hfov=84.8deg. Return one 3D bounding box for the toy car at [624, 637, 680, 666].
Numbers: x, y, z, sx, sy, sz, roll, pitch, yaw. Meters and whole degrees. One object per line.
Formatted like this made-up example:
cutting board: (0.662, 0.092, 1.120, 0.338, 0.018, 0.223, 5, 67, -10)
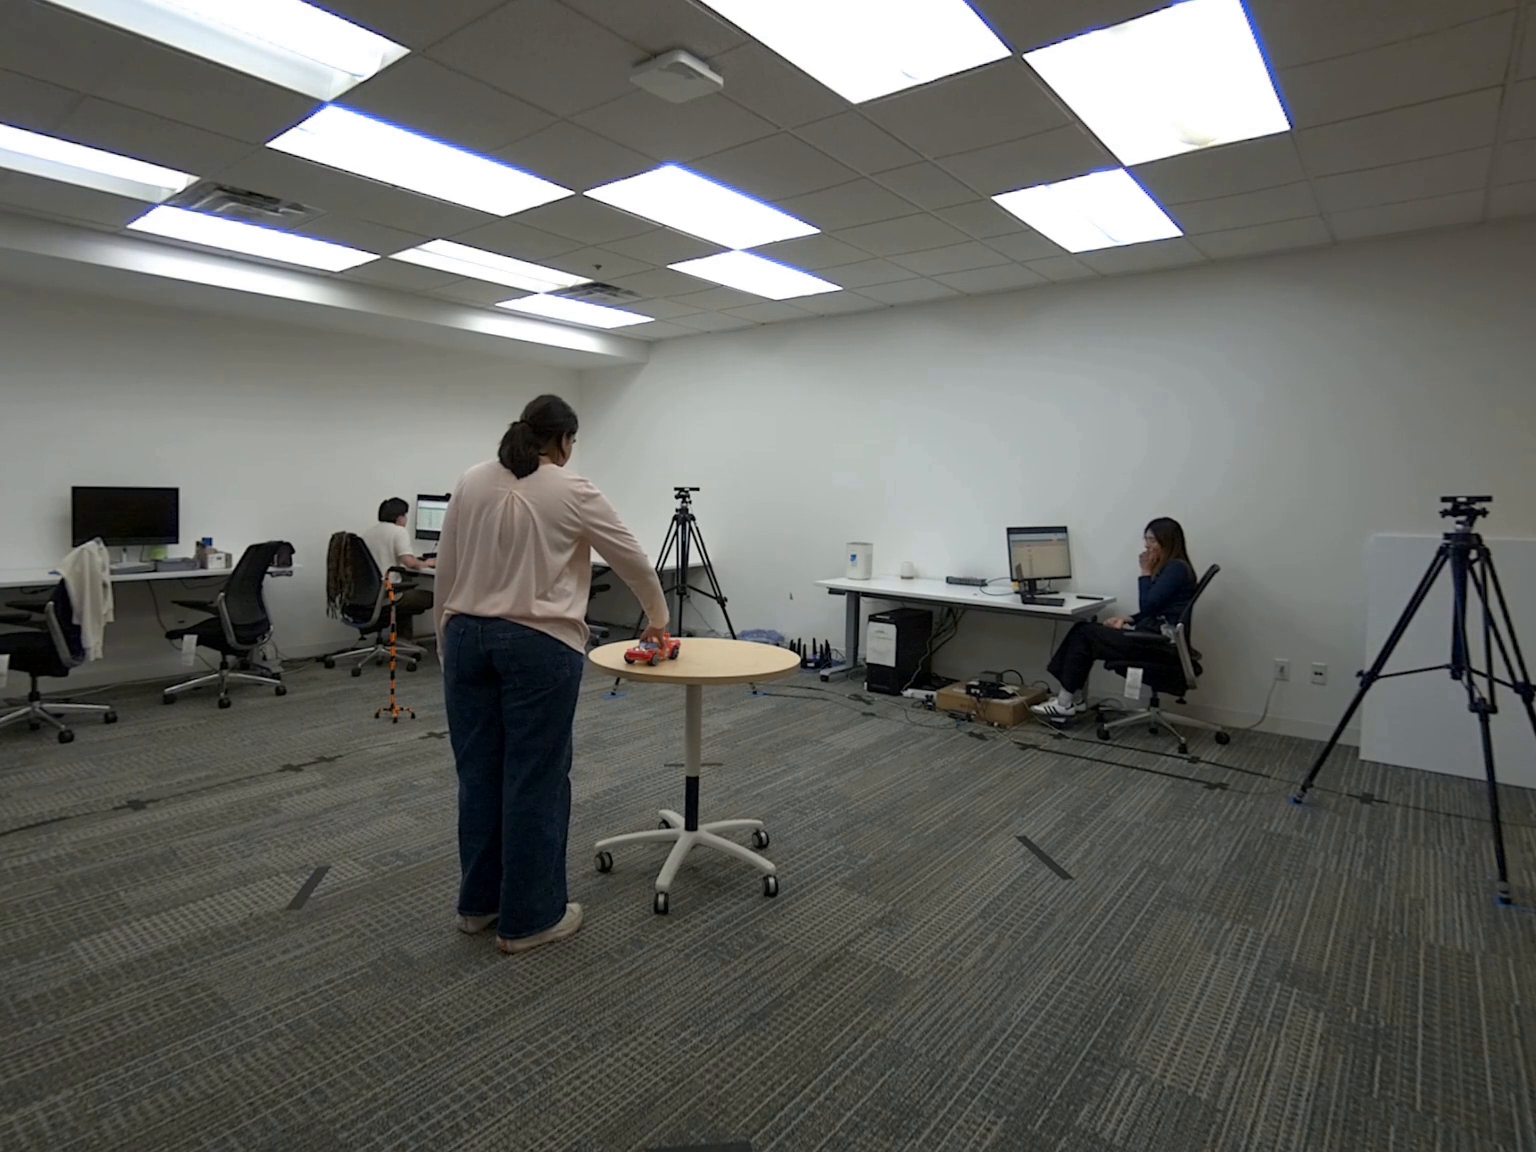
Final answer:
toy car: (-0.400, 0.262, 2.981, 0.133, 0.082, 0.252, 2, 16, 23)
